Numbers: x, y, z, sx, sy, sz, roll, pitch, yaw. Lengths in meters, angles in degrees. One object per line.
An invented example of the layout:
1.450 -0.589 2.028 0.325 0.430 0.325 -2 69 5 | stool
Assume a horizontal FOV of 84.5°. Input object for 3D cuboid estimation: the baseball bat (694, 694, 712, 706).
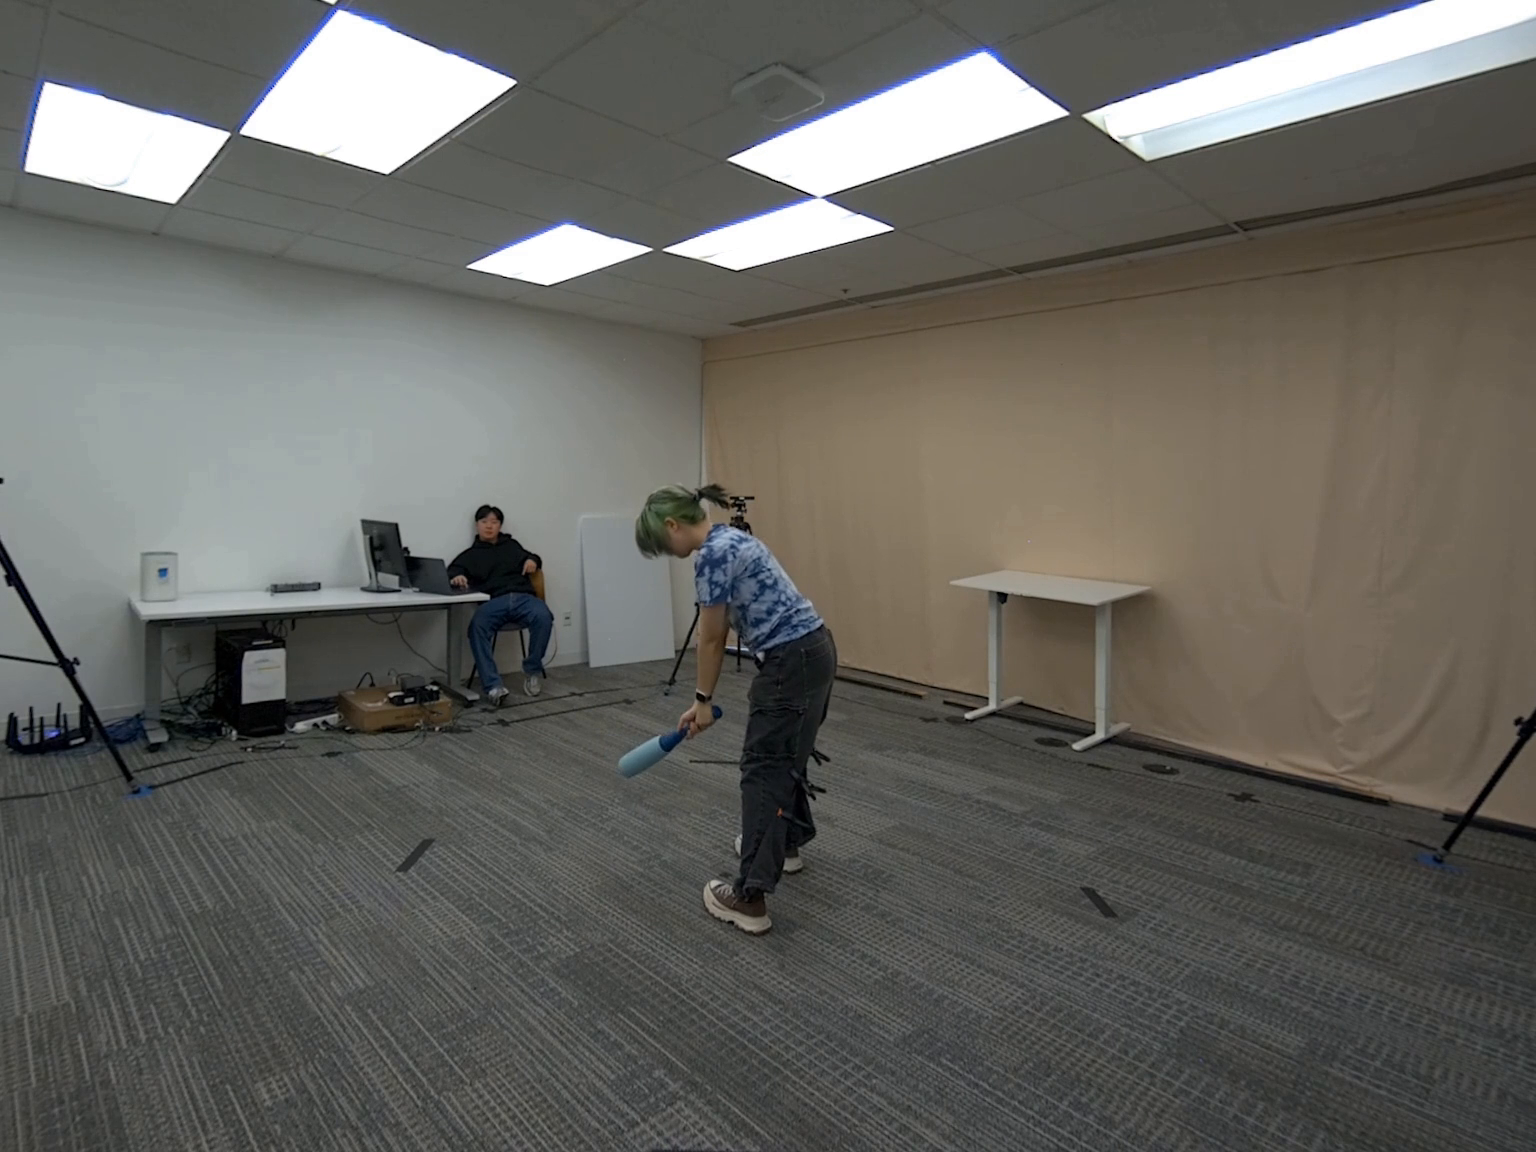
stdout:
-0.362 0.612 3.078 0.546 0.090 0.087 -34 -17 33 | baseball bat
